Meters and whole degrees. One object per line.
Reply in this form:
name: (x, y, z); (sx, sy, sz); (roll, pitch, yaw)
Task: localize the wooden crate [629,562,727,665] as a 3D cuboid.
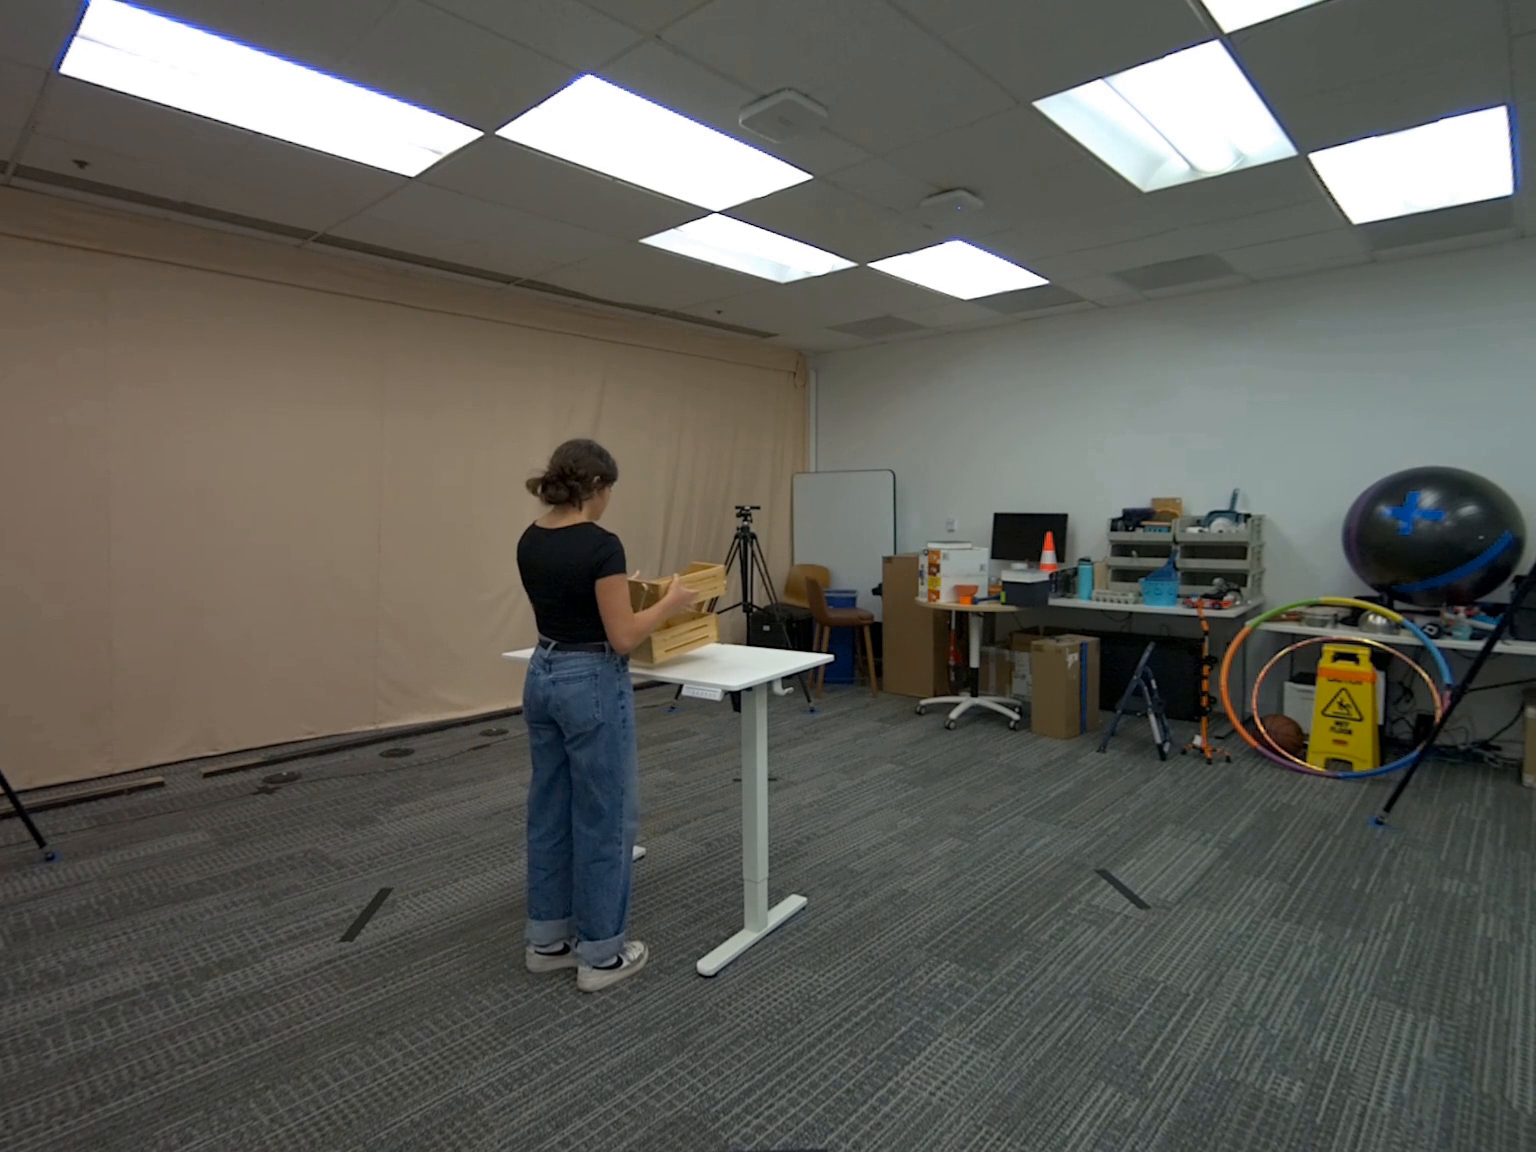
wooden crate: (-0.339, 0.106, 2.739); (0.312, 0.271, 0.316); (6, 15, 41)
